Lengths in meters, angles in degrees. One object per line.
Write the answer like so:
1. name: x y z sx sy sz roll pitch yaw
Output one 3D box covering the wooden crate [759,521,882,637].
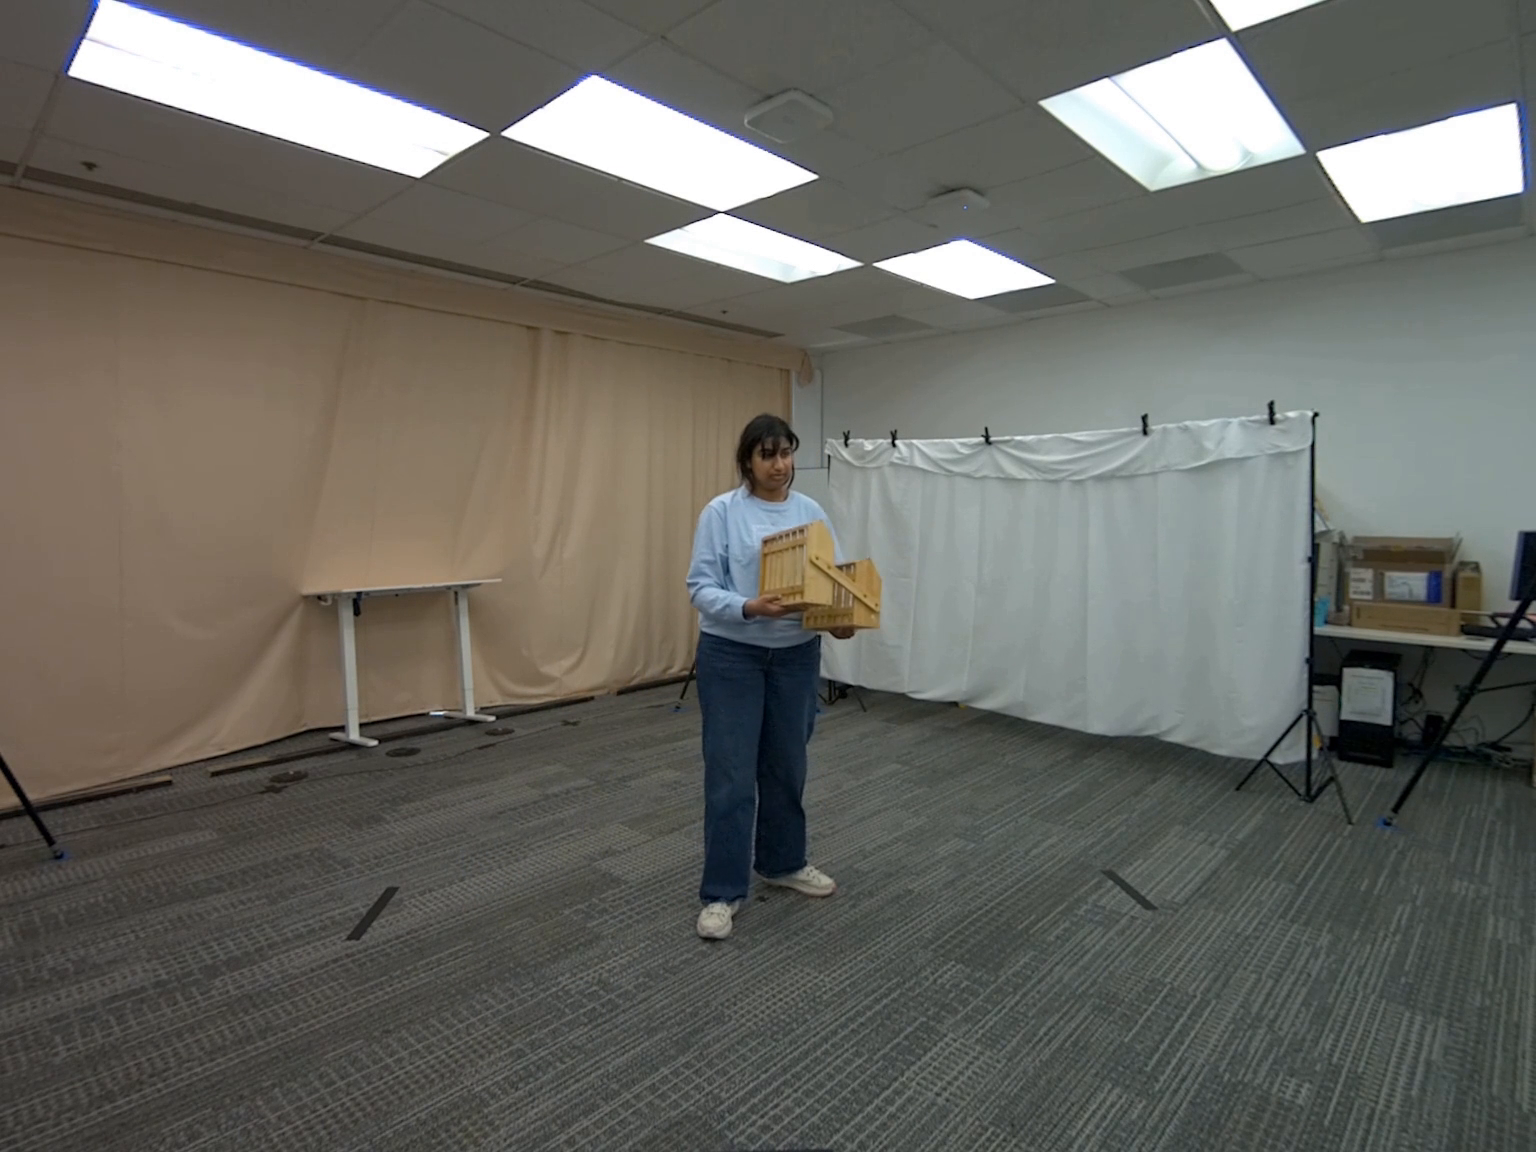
1. wooden crate: 0.158 0.008 2.613 0.267 0.303 0.331 8 -10 -24
